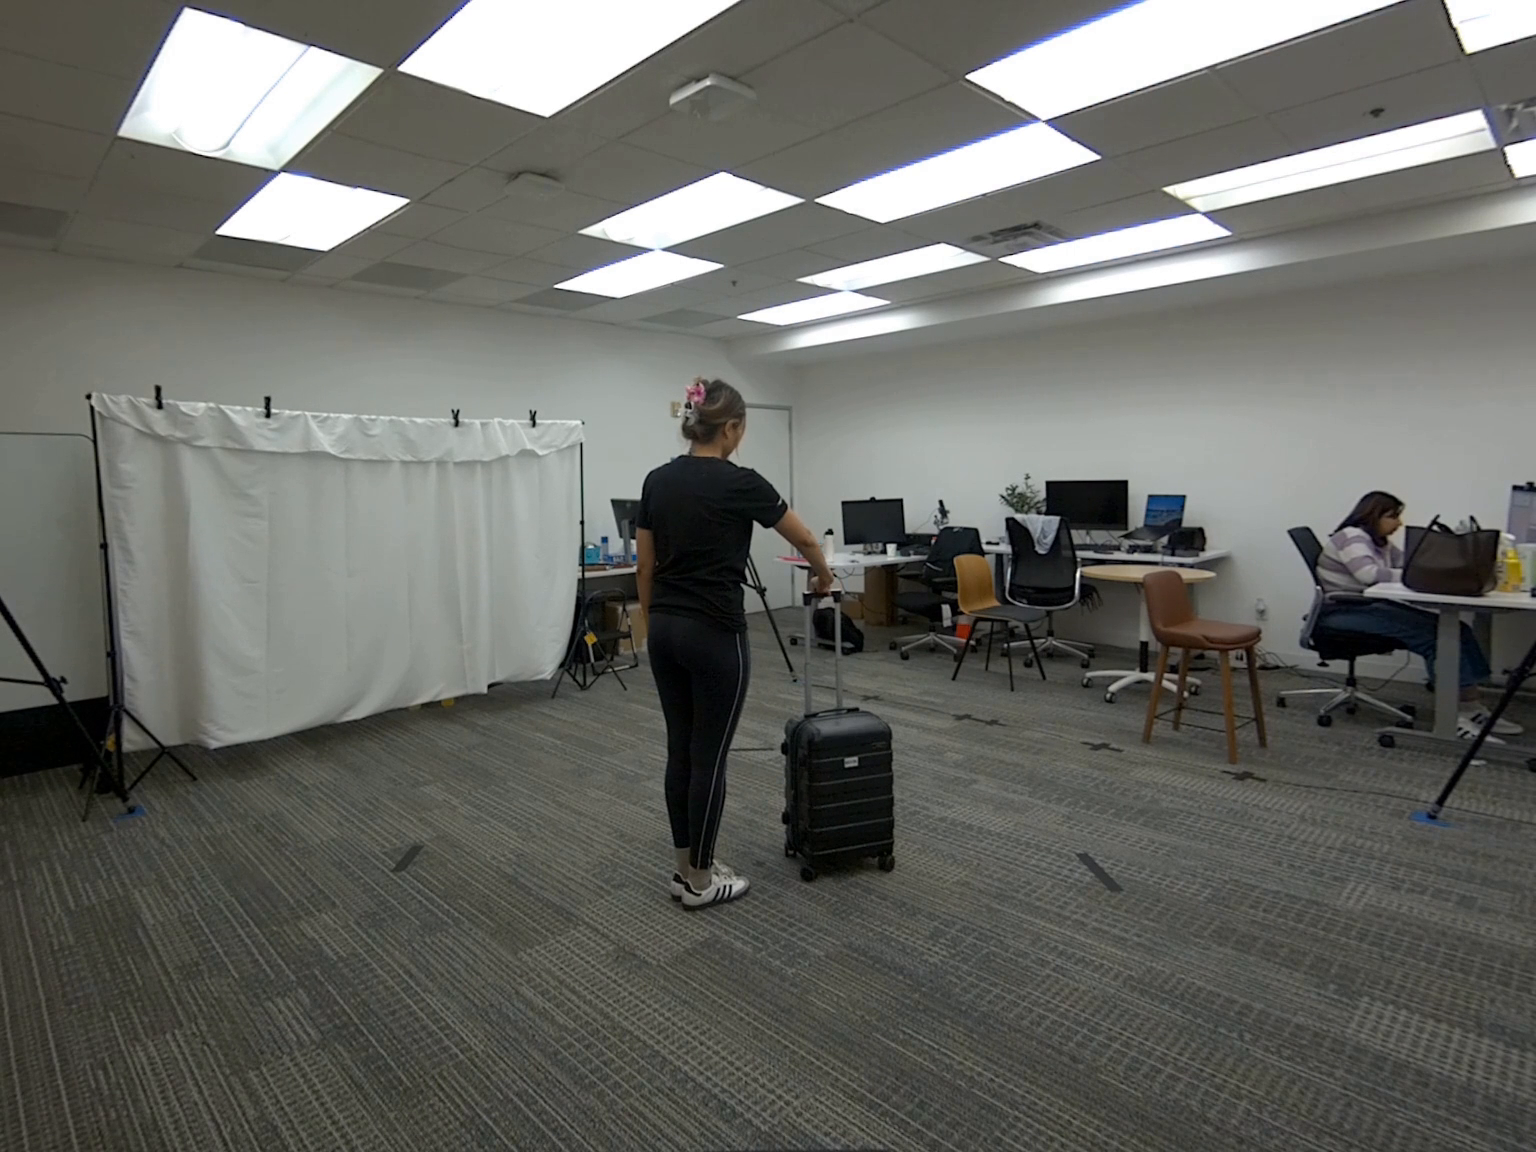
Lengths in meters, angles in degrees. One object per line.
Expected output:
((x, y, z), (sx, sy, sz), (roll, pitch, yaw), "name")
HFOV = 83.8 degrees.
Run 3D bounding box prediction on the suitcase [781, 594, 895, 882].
((0.256, 0.572, 3.086), (0.379, 0.974, 0.262), (-3, 5, -15), "suitcase")
